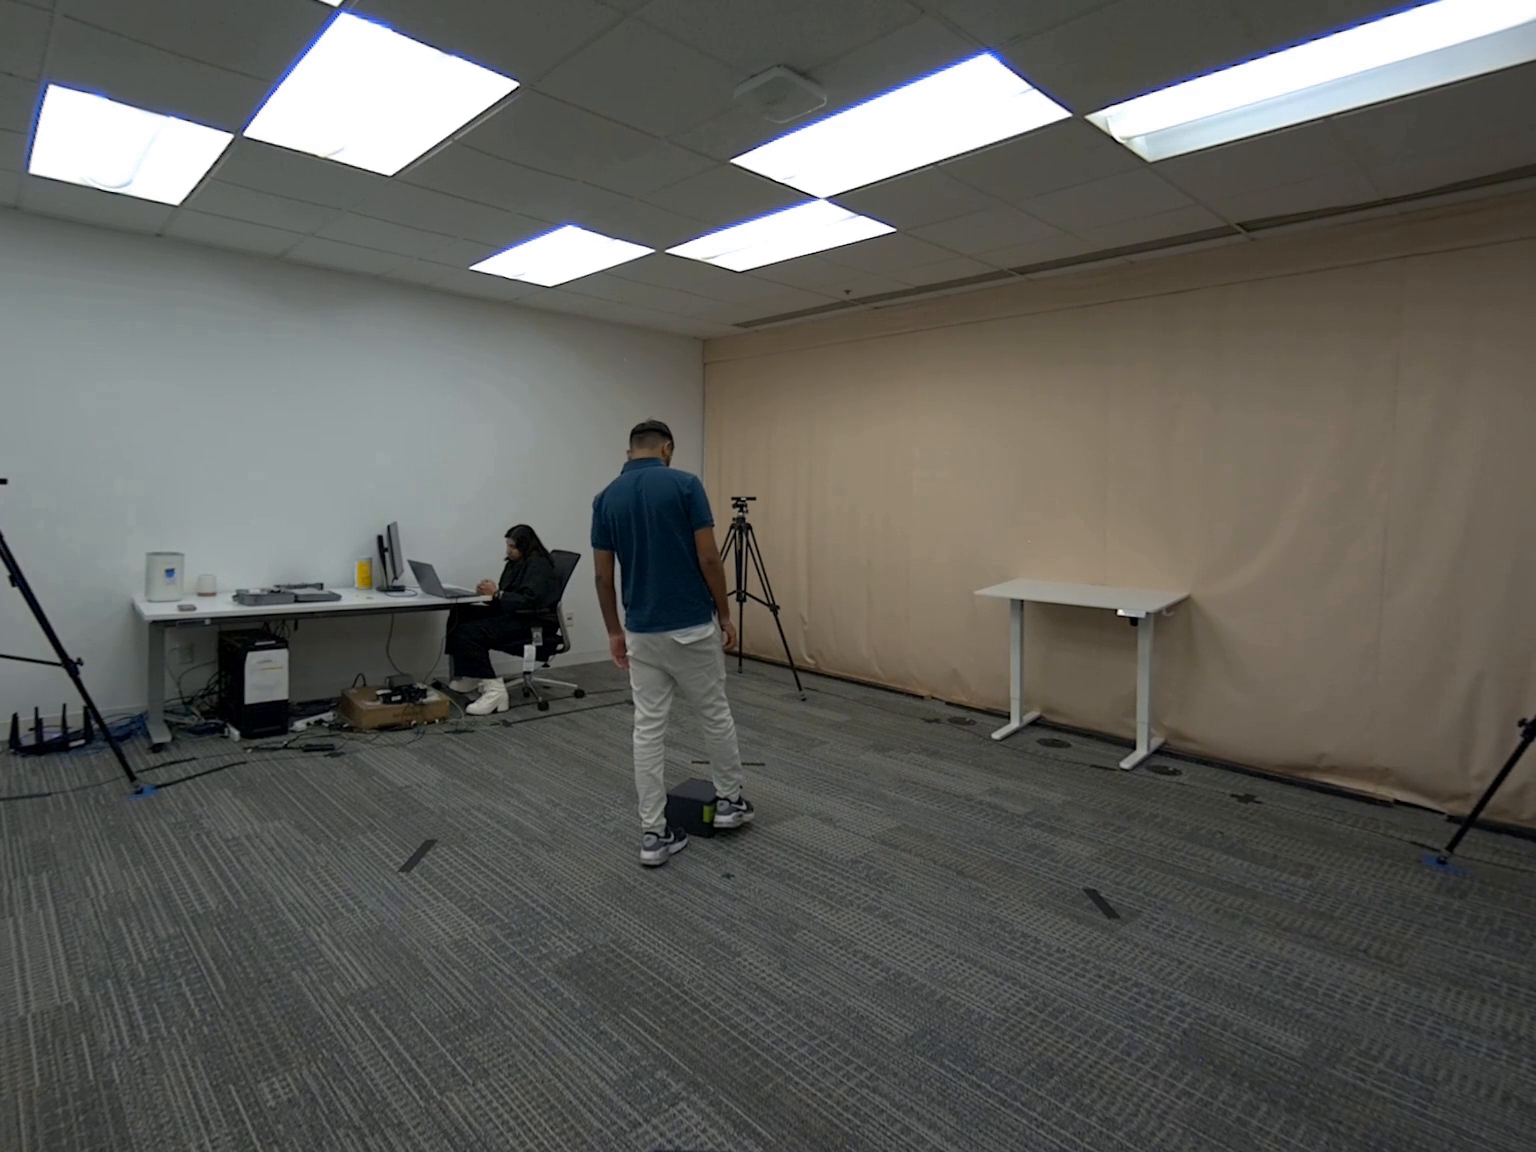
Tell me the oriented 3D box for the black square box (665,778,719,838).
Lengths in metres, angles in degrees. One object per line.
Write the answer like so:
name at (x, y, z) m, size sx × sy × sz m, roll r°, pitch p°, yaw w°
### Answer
black square box at (-0.300, 0.975, 3.574) m, size 0.221 × 0.155 × 0.224 m, roll 3°, pitch 6°, yaw 25°
